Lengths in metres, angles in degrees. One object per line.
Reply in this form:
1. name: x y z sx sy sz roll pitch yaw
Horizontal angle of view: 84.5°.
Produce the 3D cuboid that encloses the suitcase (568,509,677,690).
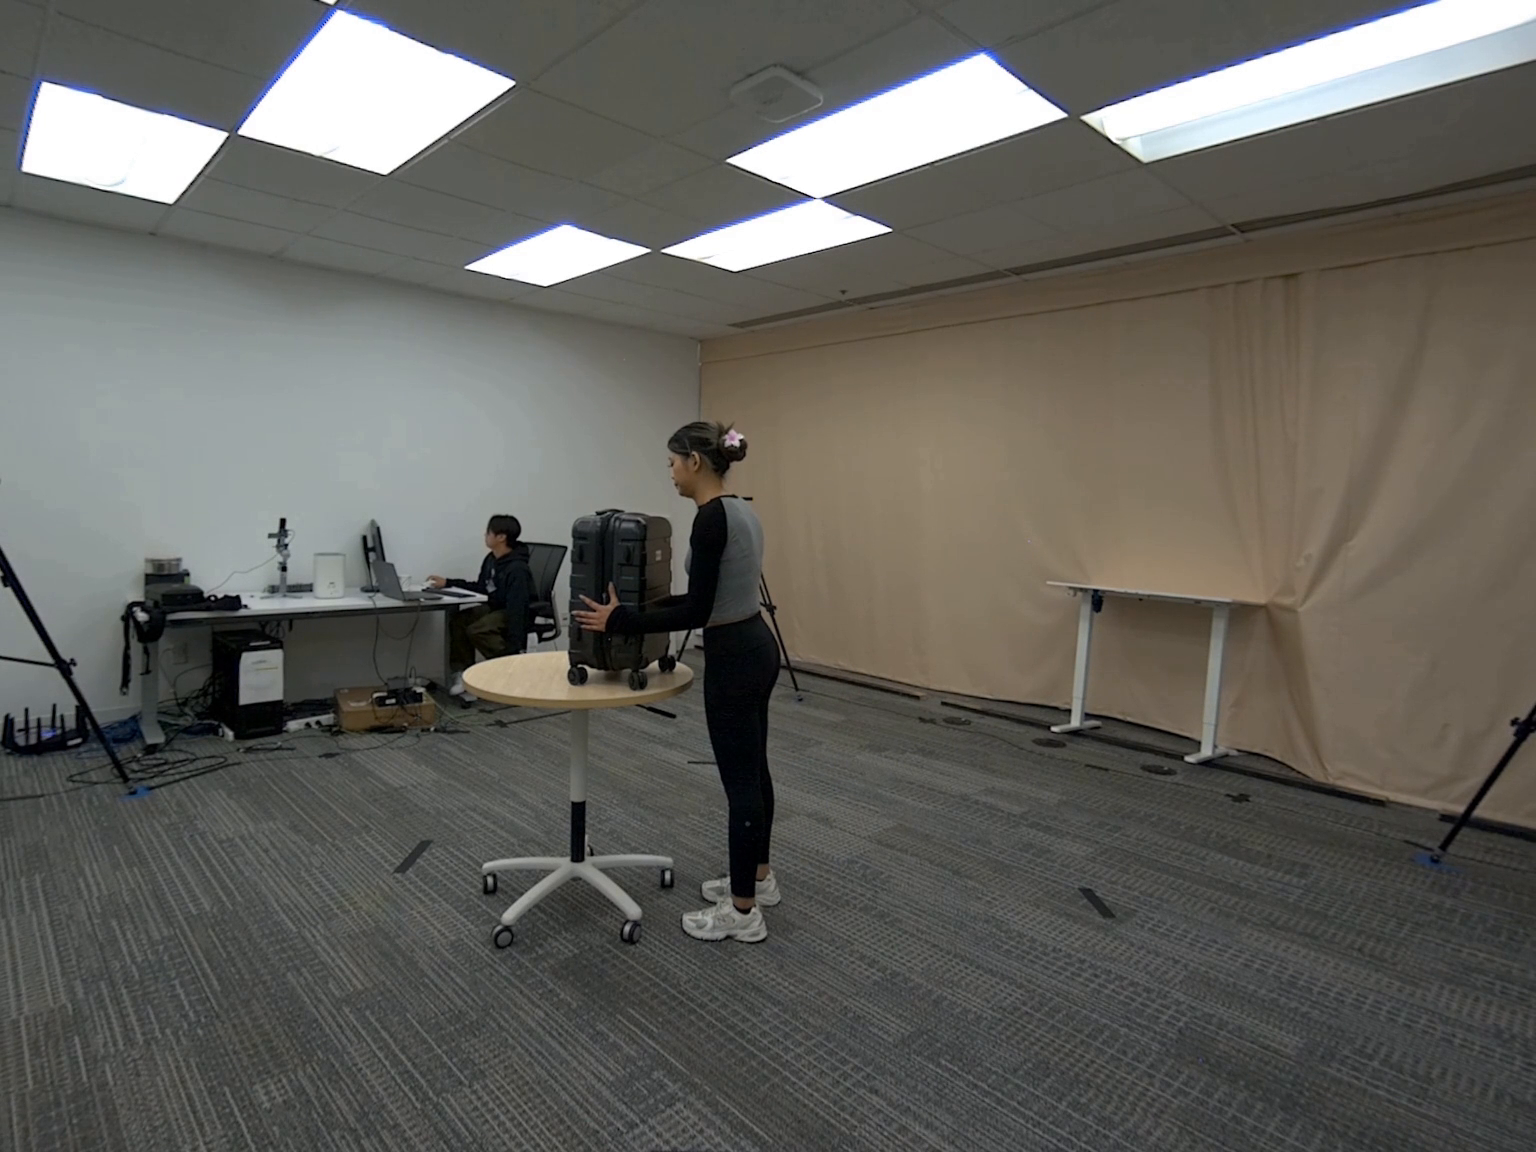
1. suitcase: -0.481 0.059 2.792 0.251 0.548 0.372 2 3 12
